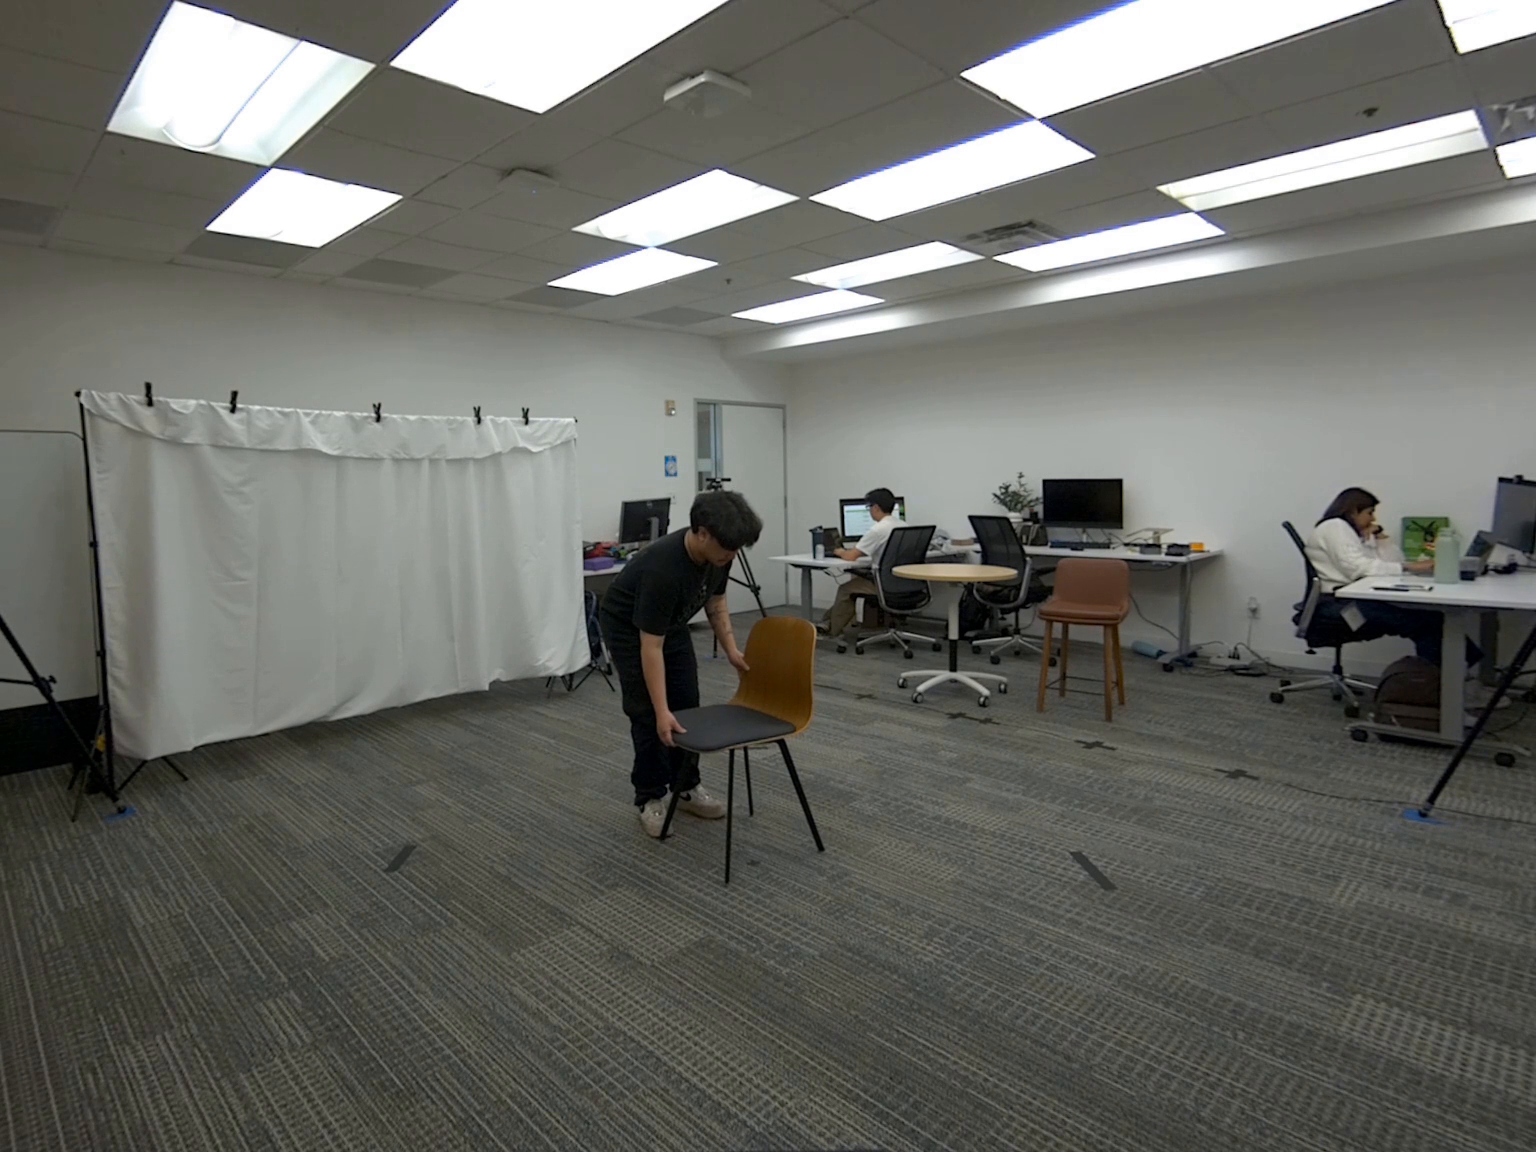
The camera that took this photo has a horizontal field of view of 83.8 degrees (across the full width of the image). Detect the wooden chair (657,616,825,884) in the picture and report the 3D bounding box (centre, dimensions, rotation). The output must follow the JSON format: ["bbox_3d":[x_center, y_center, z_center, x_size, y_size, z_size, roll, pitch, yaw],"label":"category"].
[{"bbox_3d":[-0.117,0.596,3.203,0.508,0.876,0.492,2,2,-38],"label":"wooden chair"}]
